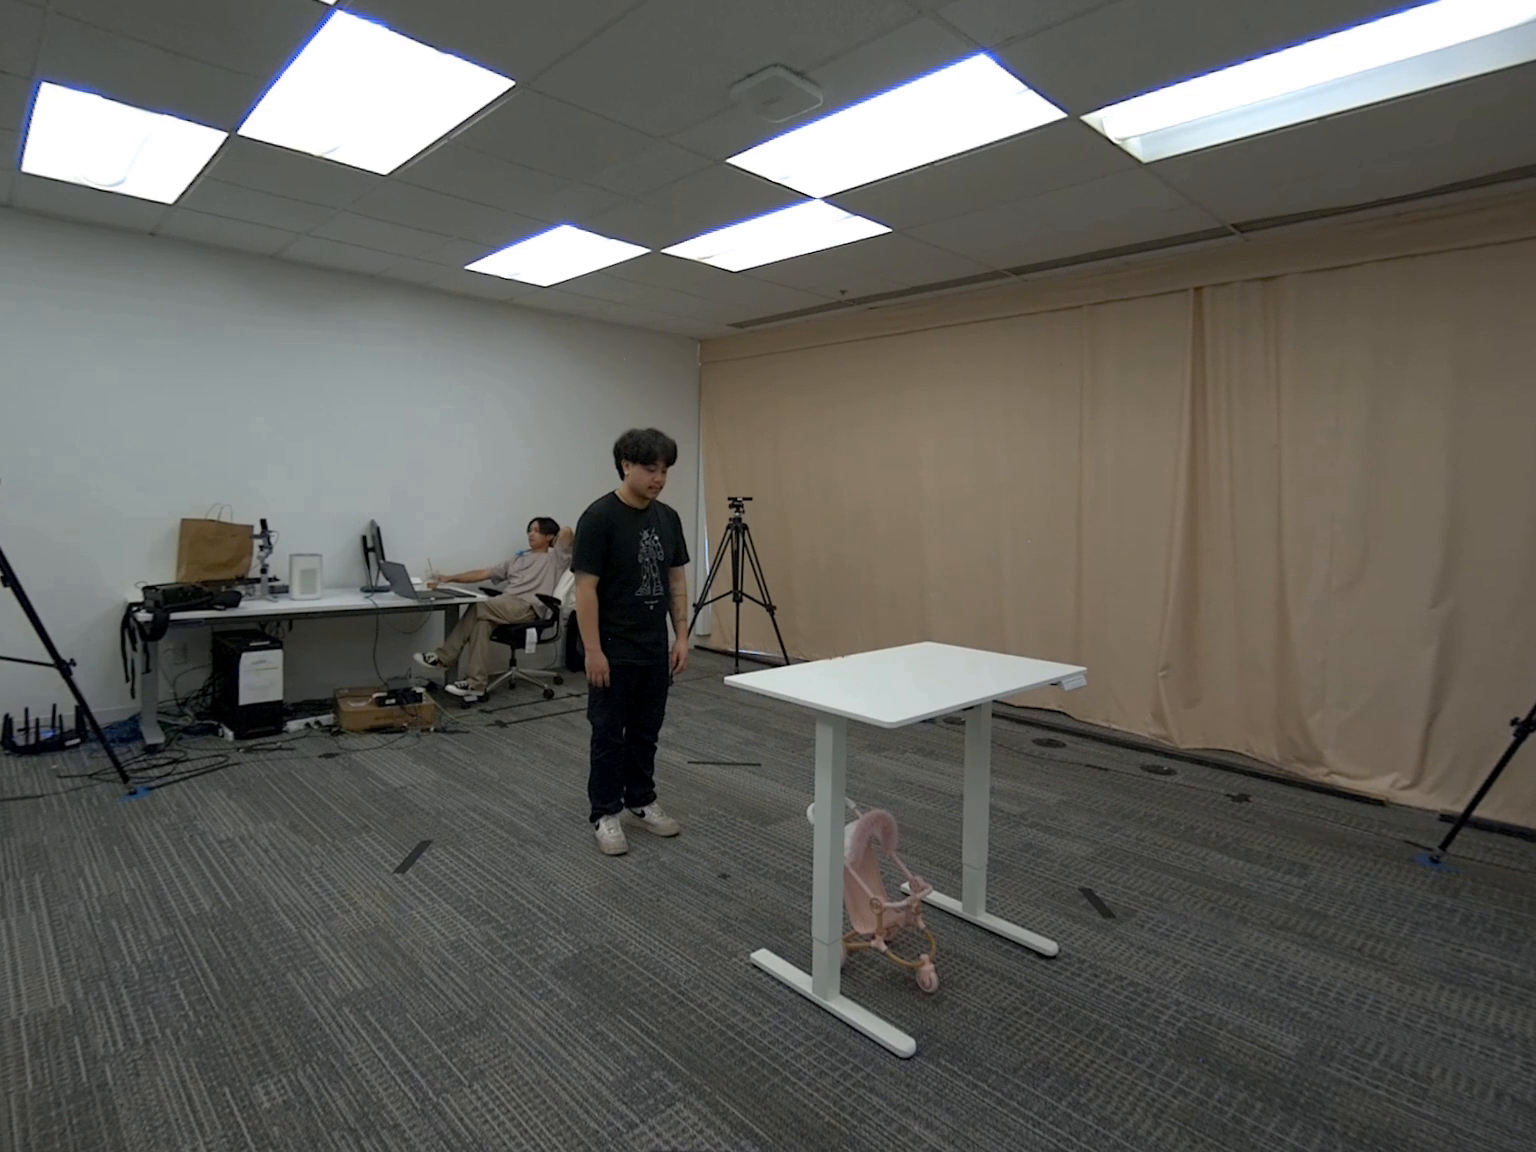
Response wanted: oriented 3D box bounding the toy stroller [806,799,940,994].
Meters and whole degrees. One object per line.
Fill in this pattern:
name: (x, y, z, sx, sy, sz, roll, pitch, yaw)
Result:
toy stroller: (0.324, 0.947, 2.529, 0.275, 0.539, 0.346, -2, -11, -40)
